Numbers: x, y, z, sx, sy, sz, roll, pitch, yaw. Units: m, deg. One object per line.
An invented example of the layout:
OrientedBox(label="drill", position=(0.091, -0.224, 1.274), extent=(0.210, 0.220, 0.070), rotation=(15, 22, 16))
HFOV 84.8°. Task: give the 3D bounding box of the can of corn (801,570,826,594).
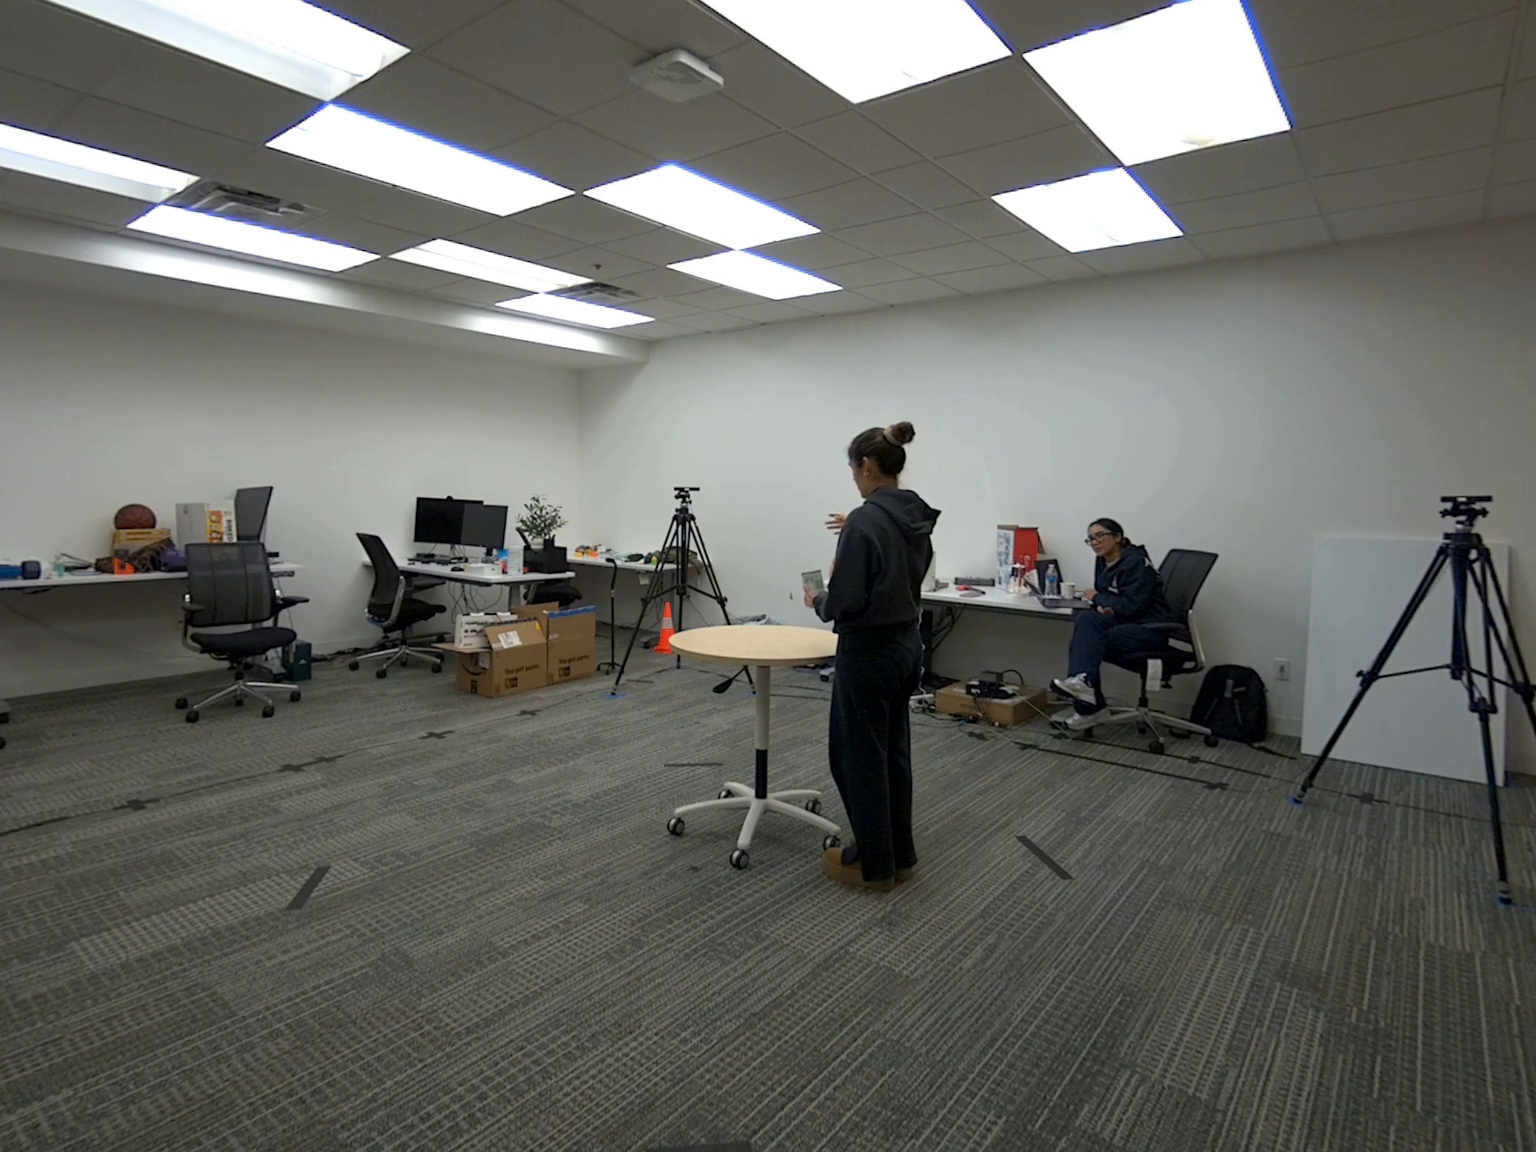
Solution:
OrientedBox(label="can of corn", position=(0.176, 0.019, 3.158), extent=(0.074, 0.111, 0.074), rotation=(-9, -2, -2))
